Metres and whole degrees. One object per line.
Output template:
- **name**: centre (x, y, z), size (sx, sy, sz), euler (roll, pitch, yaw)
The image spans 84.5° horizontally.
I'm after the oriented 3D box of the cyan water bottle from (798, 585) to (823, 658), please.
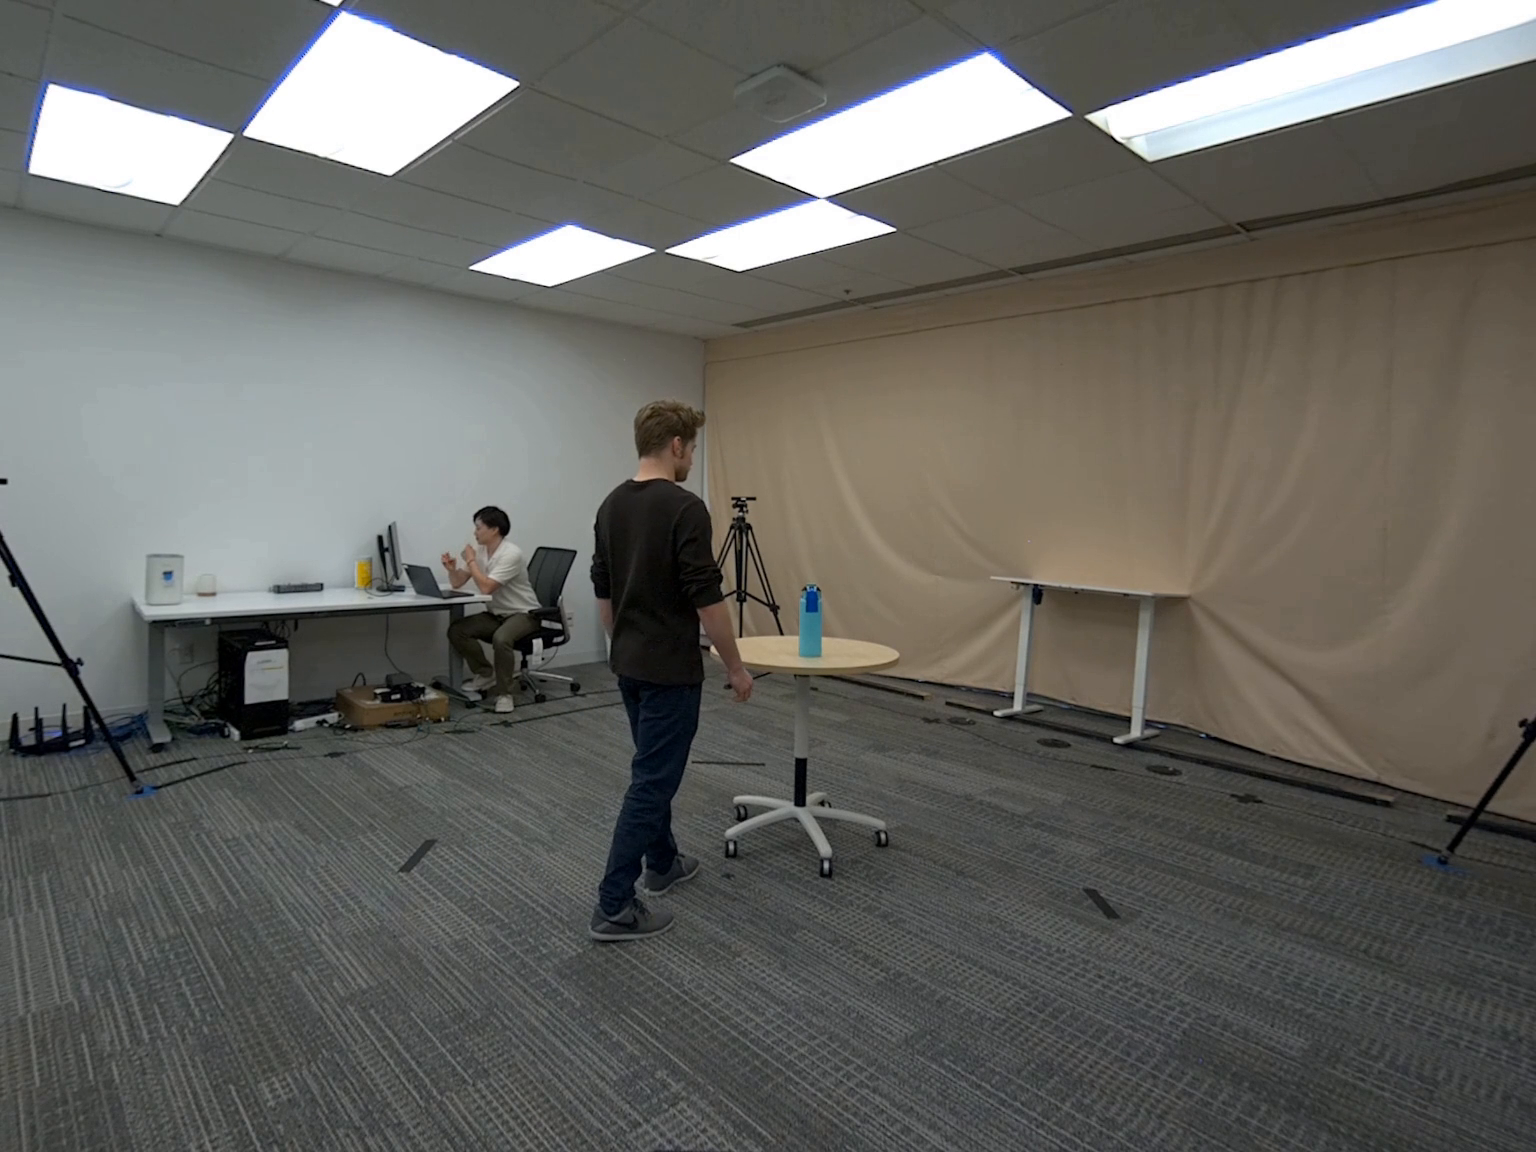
- **cyan water bottle**: centre (0.164, 0.175, 3.300), size (0.092, 0.282, 0.093), euler (2, 4, -2)
